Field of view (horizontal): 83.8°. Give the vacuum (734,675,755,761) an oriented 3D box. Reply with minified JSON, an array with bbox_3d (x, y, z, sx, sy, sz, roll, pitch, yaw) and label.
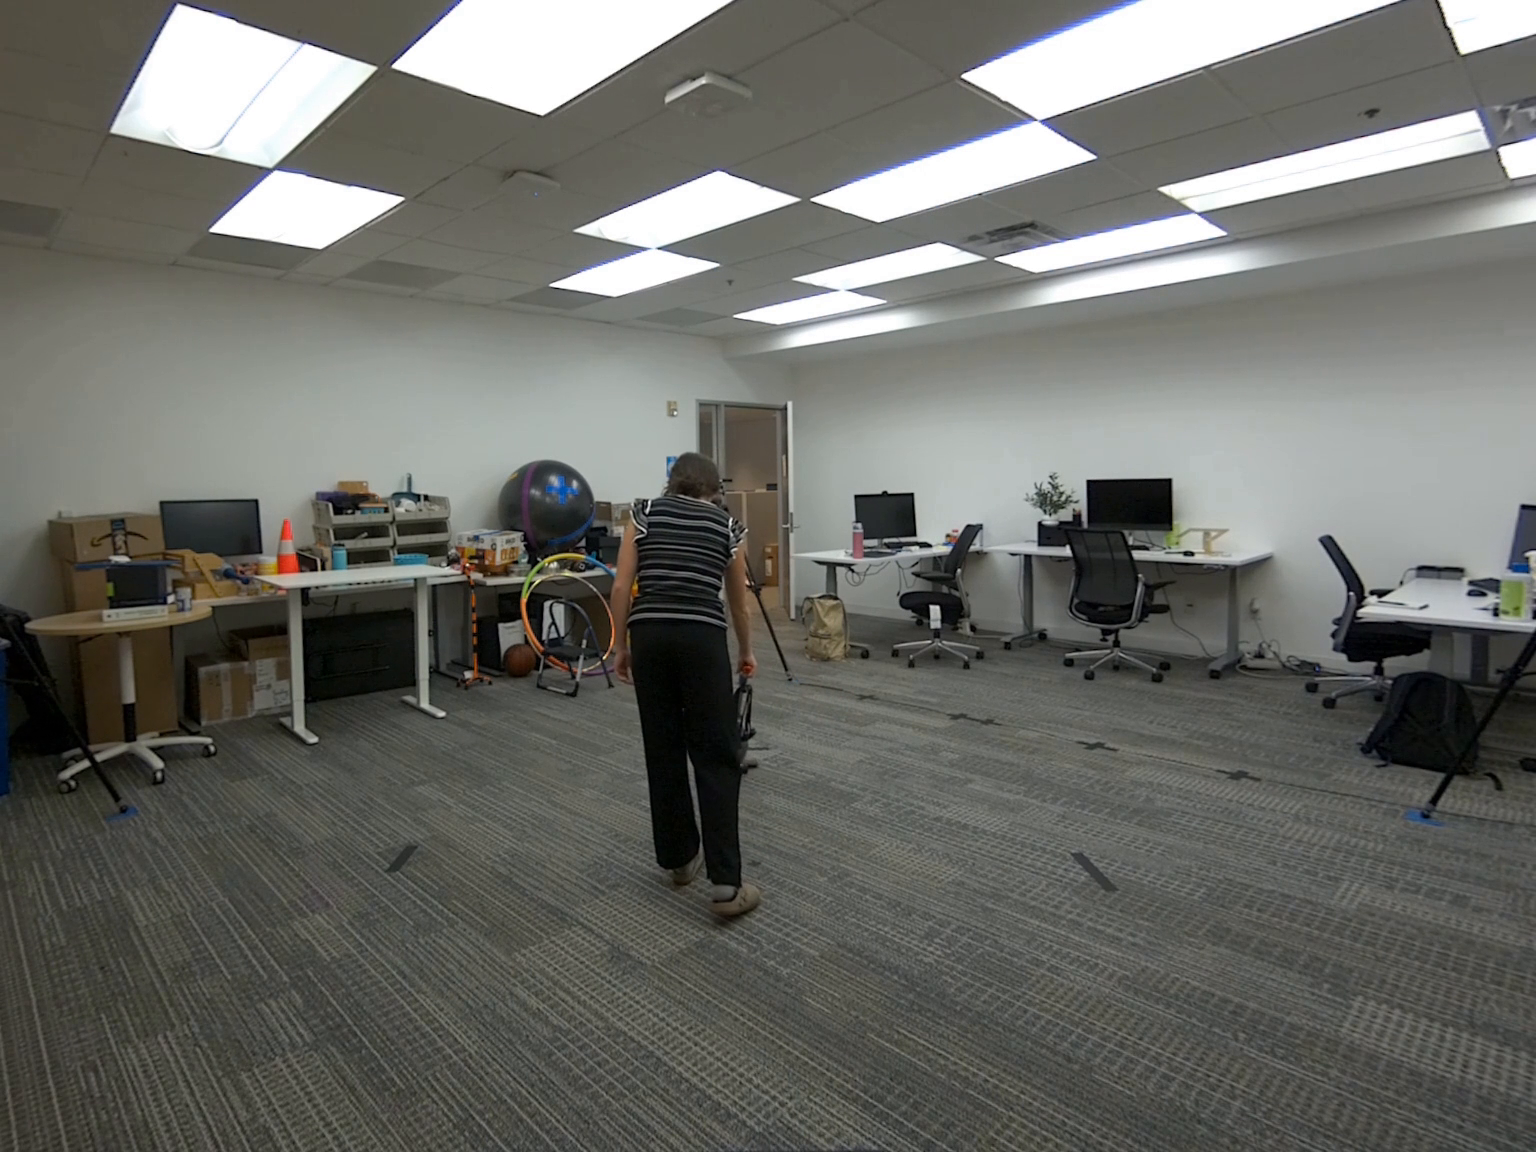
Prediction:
[{"bbox_3d":[-0.126,0.639,3.680,0.251,0.148,1.026,-2,-32,-7],"label":"vacuum"}]
